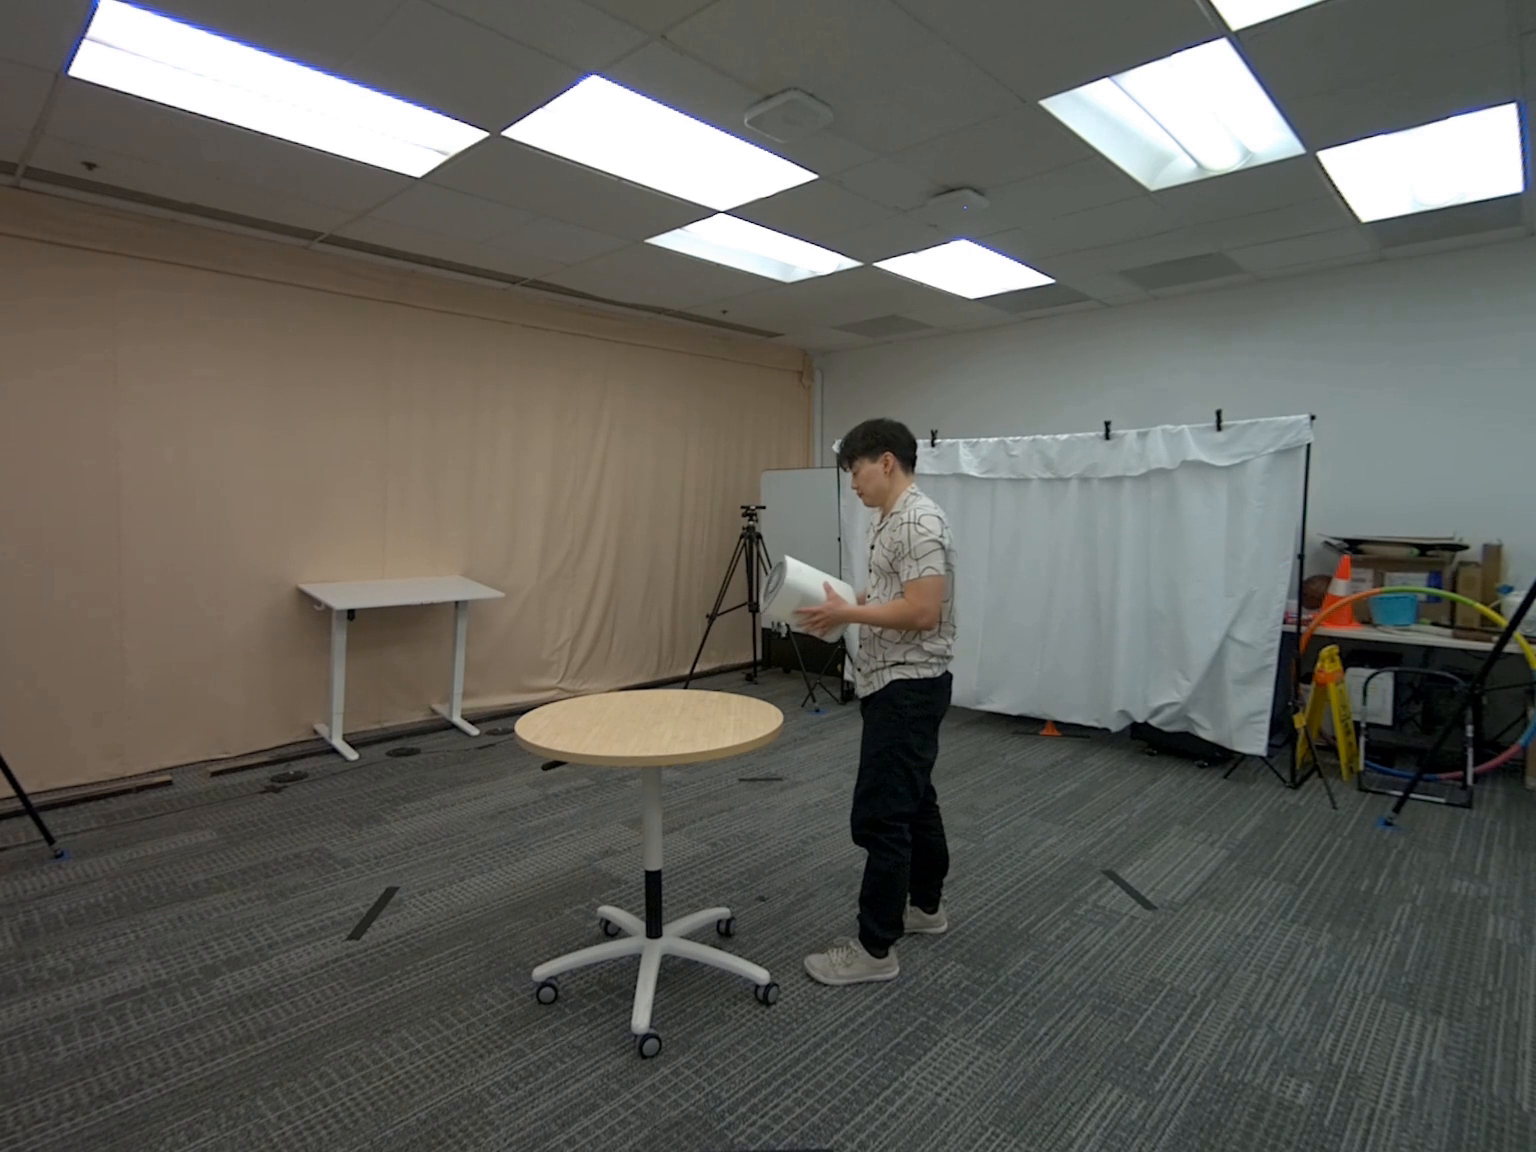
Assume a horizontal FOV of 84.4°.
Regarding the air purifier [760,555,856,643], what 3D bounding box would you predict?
[{"bbox_3d":[0.136,0.064,2.639,0.262,0.171,0.173,23,27,-11],"label":"air purifier"}]
